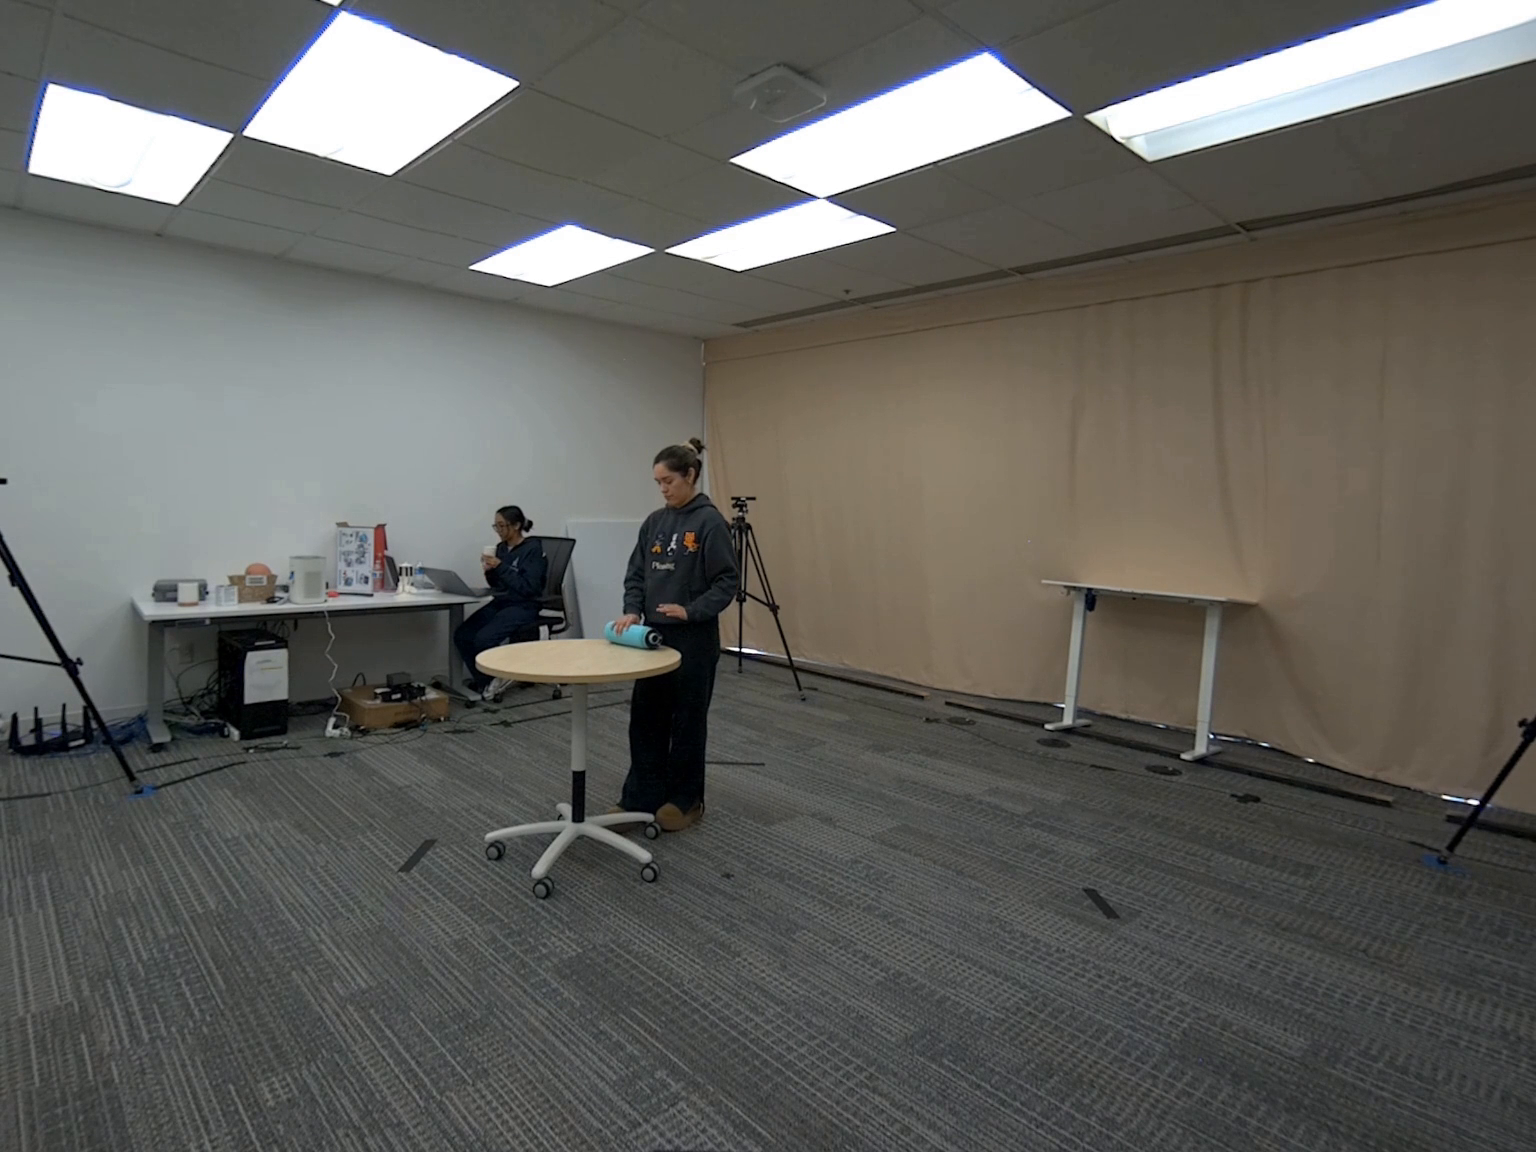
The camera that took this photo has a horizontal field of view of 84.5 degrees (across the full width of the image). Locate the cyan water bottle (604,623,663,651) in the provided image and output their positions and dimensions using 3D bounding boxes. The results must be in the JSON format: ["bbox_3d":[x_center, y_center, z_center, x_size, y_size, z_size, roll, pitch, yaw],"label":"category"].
[{"bbox_3d":[-0.563,0.236,3.419,0.290,0.092,0.090,4,6,41],"label":"cyan water bottle"}]
